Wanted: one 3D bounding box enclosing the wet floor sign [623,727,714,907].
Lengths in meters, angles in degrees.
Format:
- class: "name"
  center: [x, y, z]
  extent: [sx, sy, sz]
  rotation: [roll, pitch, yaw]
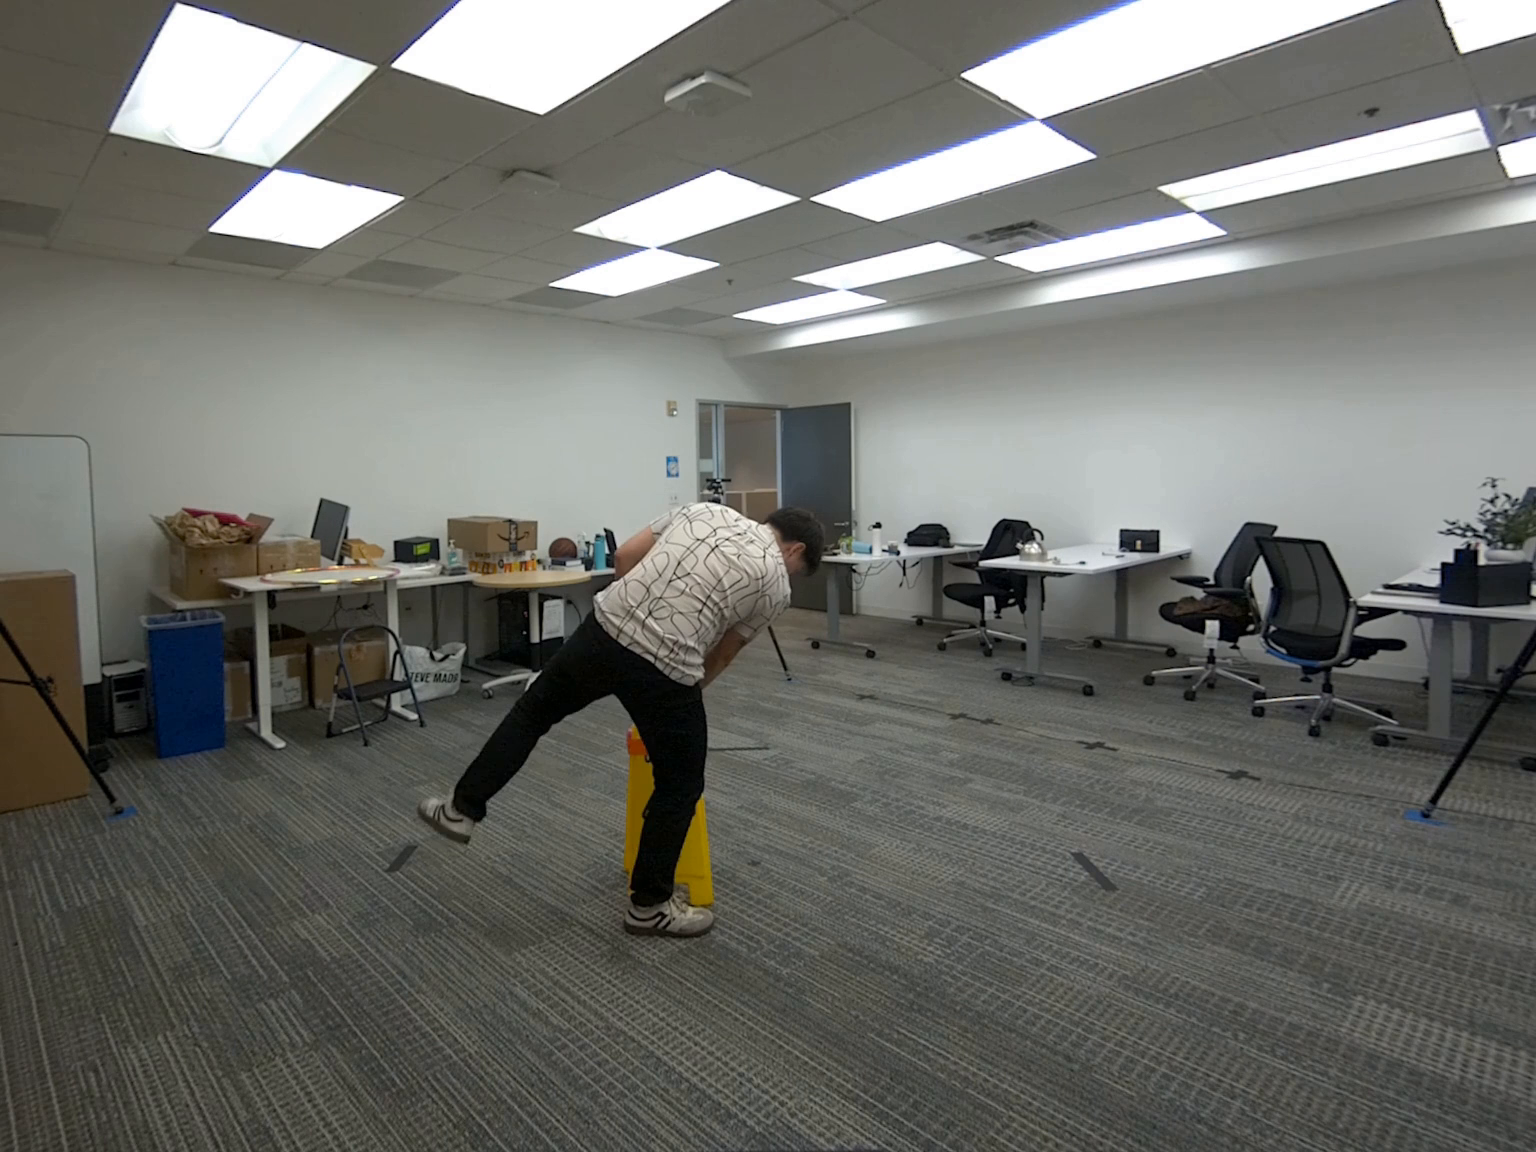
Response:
- class: "wet floor sign"
  center: [-0.346, 0.747, 2.923]
  extent: [0.280, 0.644, 0.293]
  rotation: [-3, 4, -10]
